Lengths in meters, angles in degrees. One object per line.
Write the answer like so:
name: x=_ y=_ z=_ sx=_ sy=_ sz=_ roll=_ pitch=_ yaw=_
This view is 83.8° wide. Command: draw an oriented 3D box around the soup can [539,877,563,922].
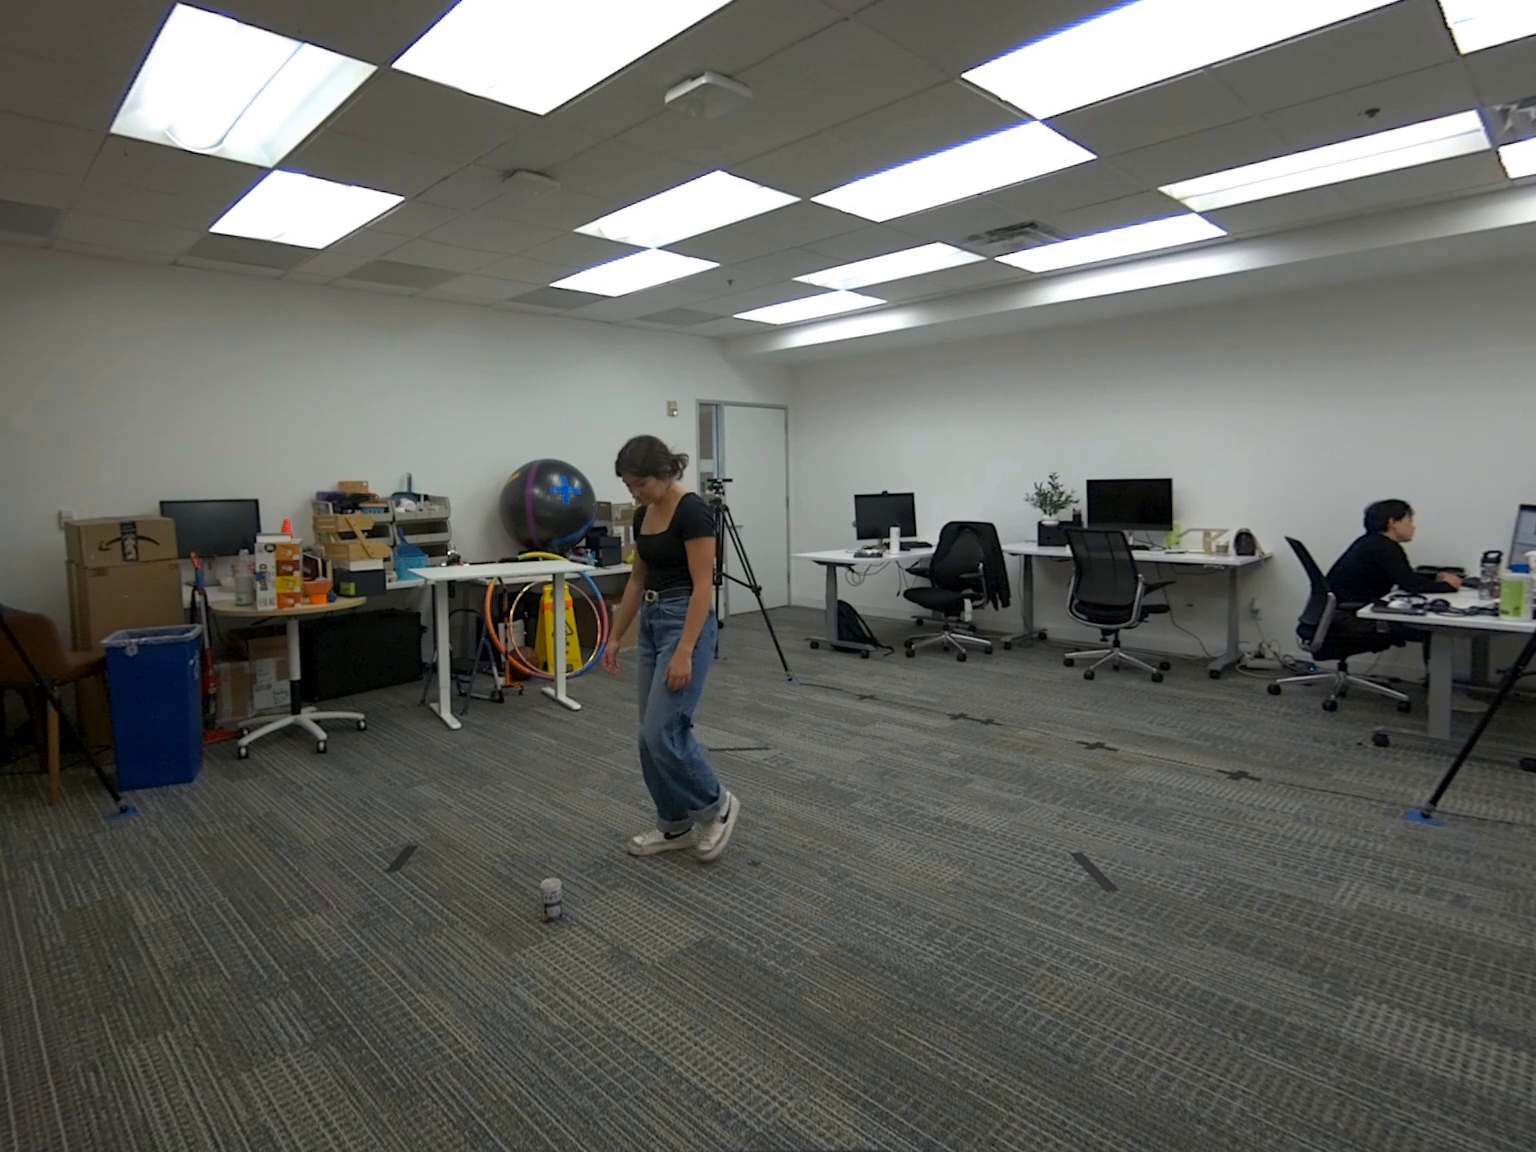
soup can: x=-0.693 y=1.041 z=2.737 sx=0.067 sy=0.121 sz=0.067 roll=-2 pitch=3 yaw=-1
